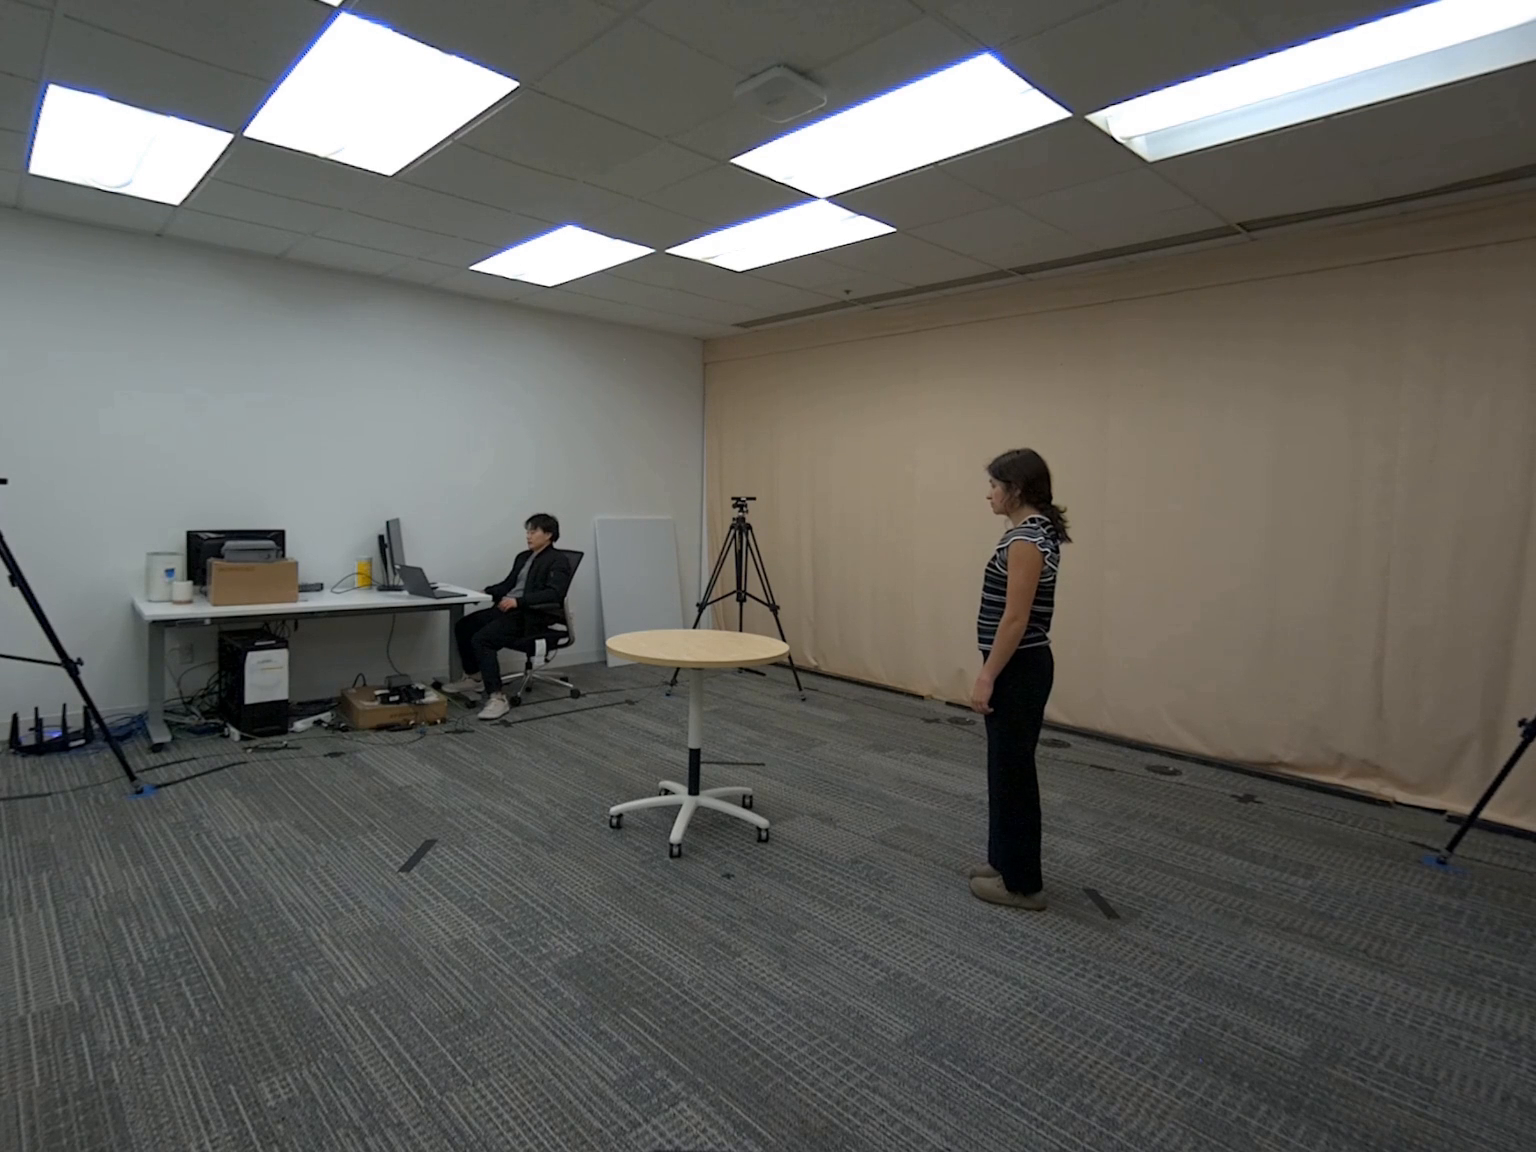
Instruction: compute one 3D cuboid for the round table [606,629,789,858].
[{"bbox_3d":[-0.319,0.677,3.550,0.763,0.792,0.766,2,4,-1],"label":"round table"}]
